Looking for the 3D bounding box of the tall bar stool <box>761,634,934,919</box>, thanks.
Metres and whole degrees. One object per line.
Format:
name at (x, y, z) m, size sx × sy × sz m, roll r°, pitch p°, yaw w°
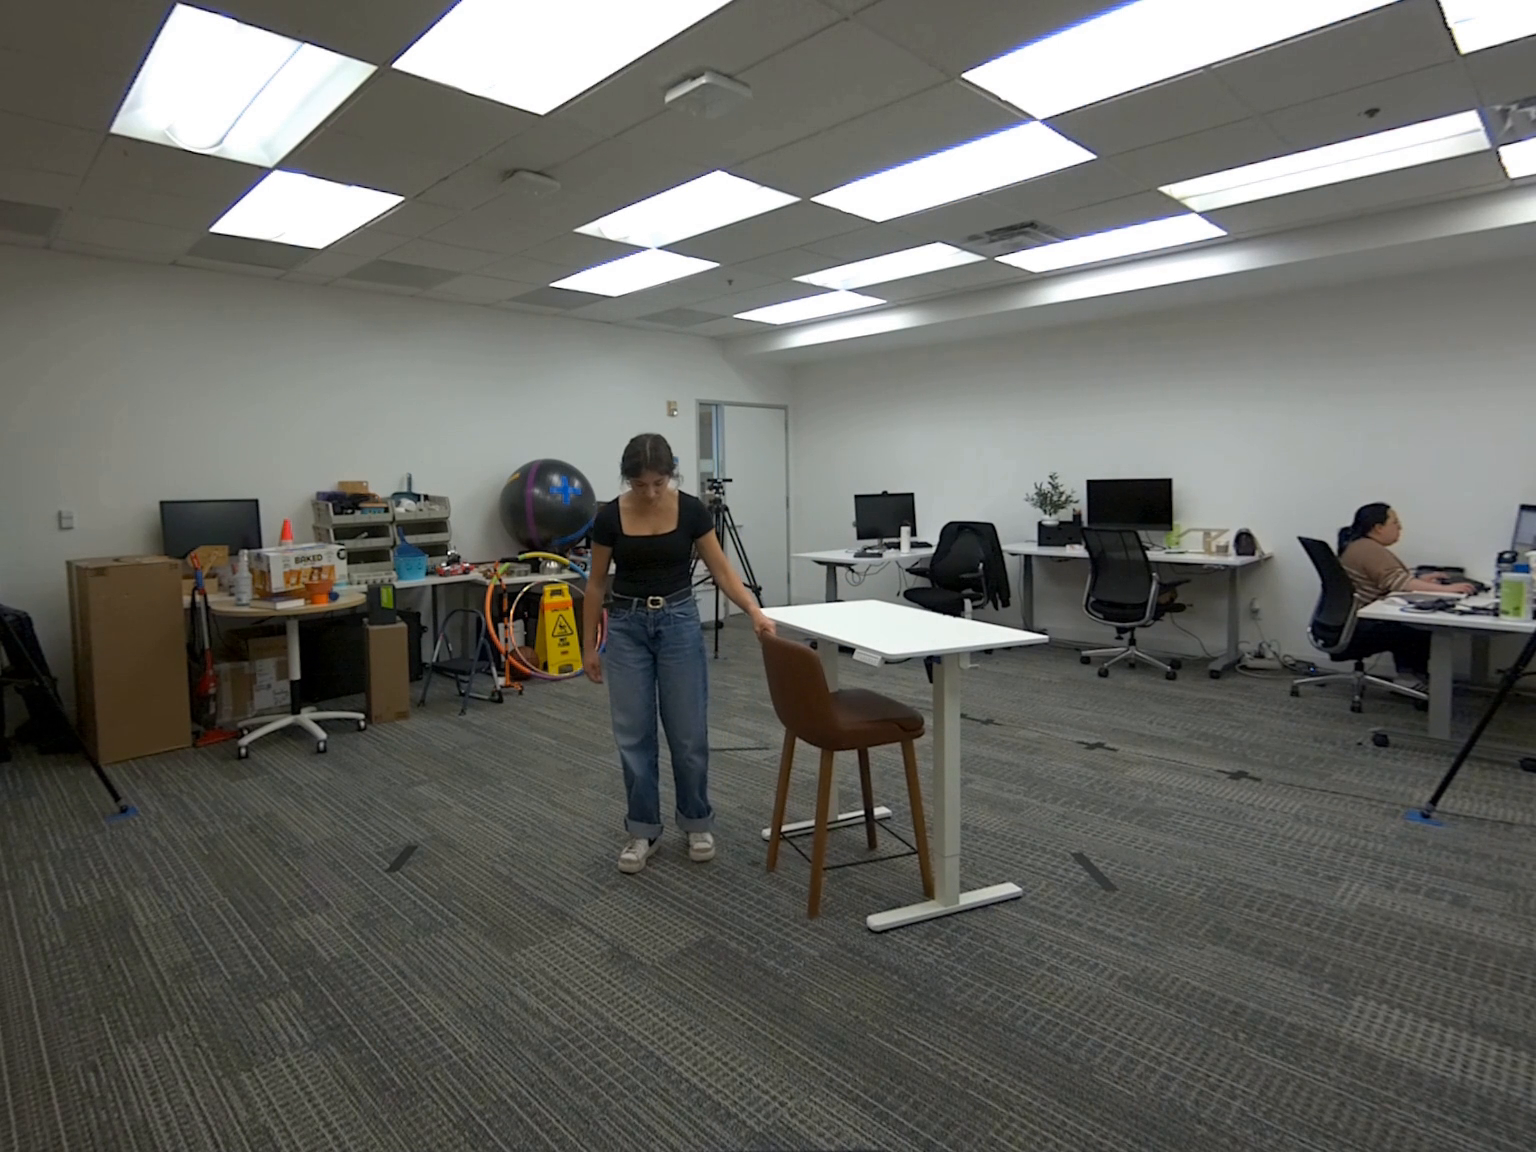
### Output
tall bar stool at (0.254, 0.631, 2.922) m, size 0.459 × 0.886 × 0.466 m, roll -5°, pitch 5°, yaw -21°
